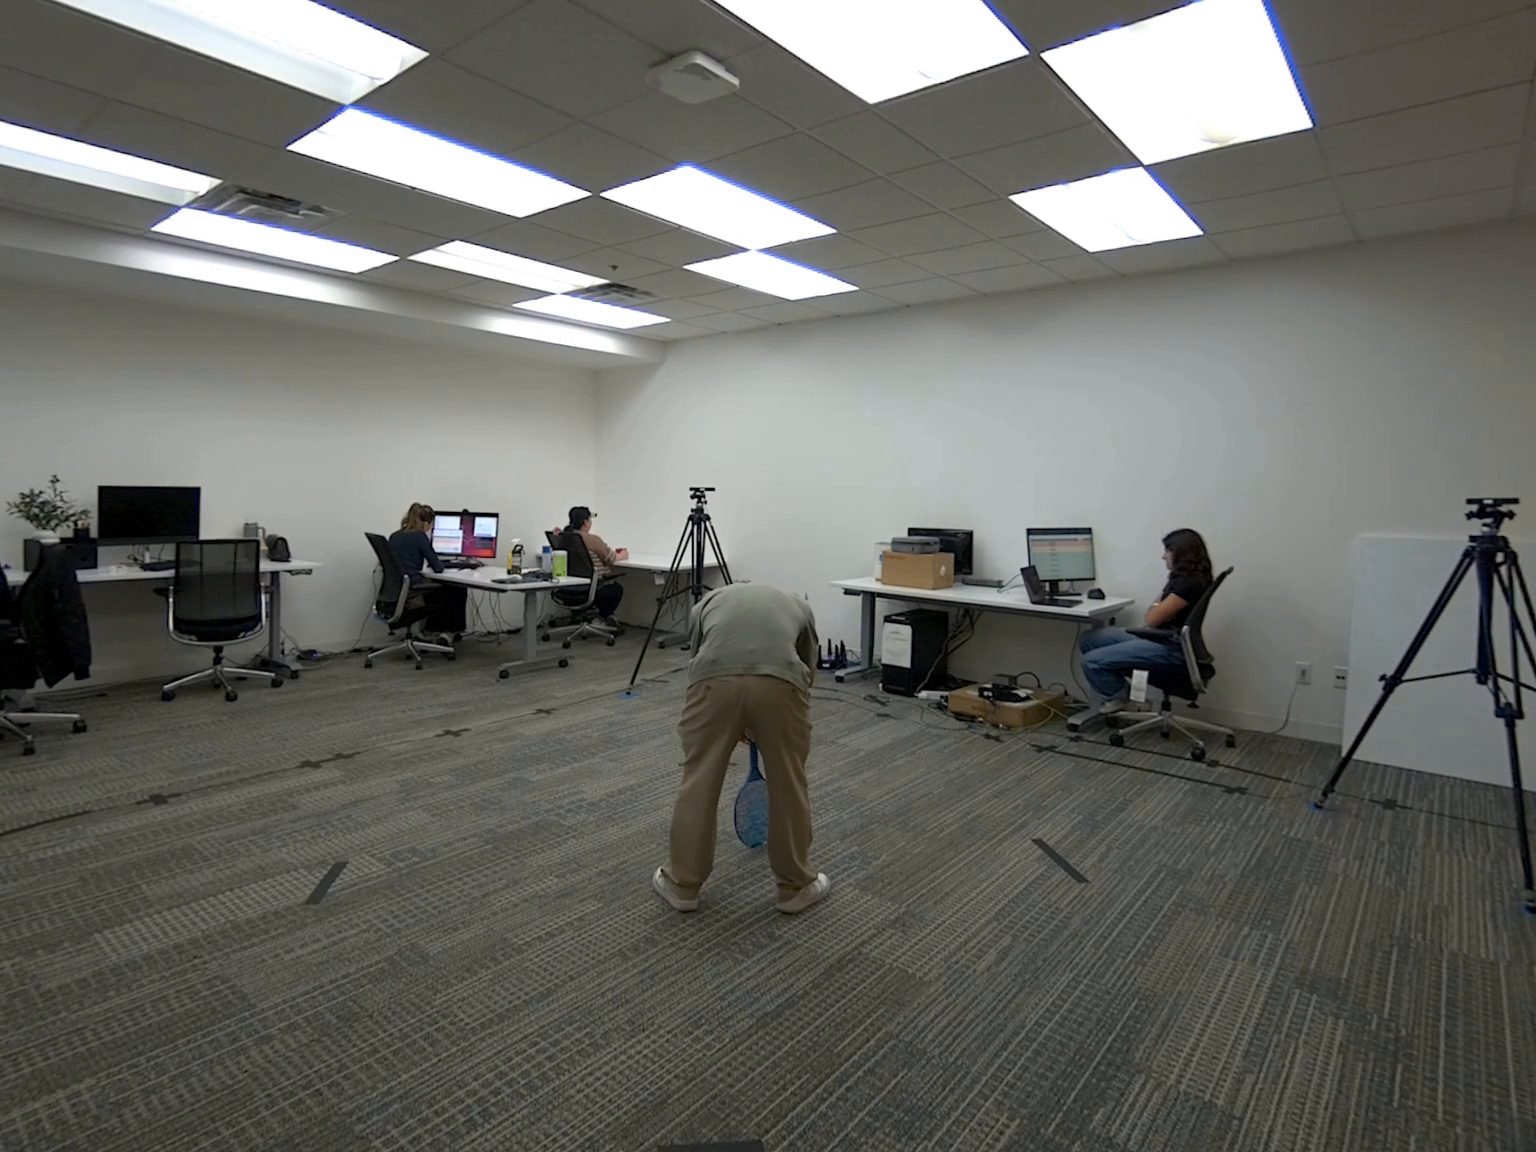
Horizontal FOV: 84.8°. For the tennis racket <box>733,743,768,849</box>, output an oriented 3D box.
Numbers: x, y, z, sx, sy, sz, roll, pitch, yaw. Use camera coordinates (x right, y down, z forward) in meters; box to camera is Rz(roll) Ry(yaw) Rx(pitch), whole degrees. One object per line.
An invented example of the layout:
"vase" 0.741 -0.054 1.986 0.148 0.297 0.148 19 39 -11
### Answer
"tennis racket" -0.058 0.833 3.313 0.207 0.434 0.033 2 -3 -42
